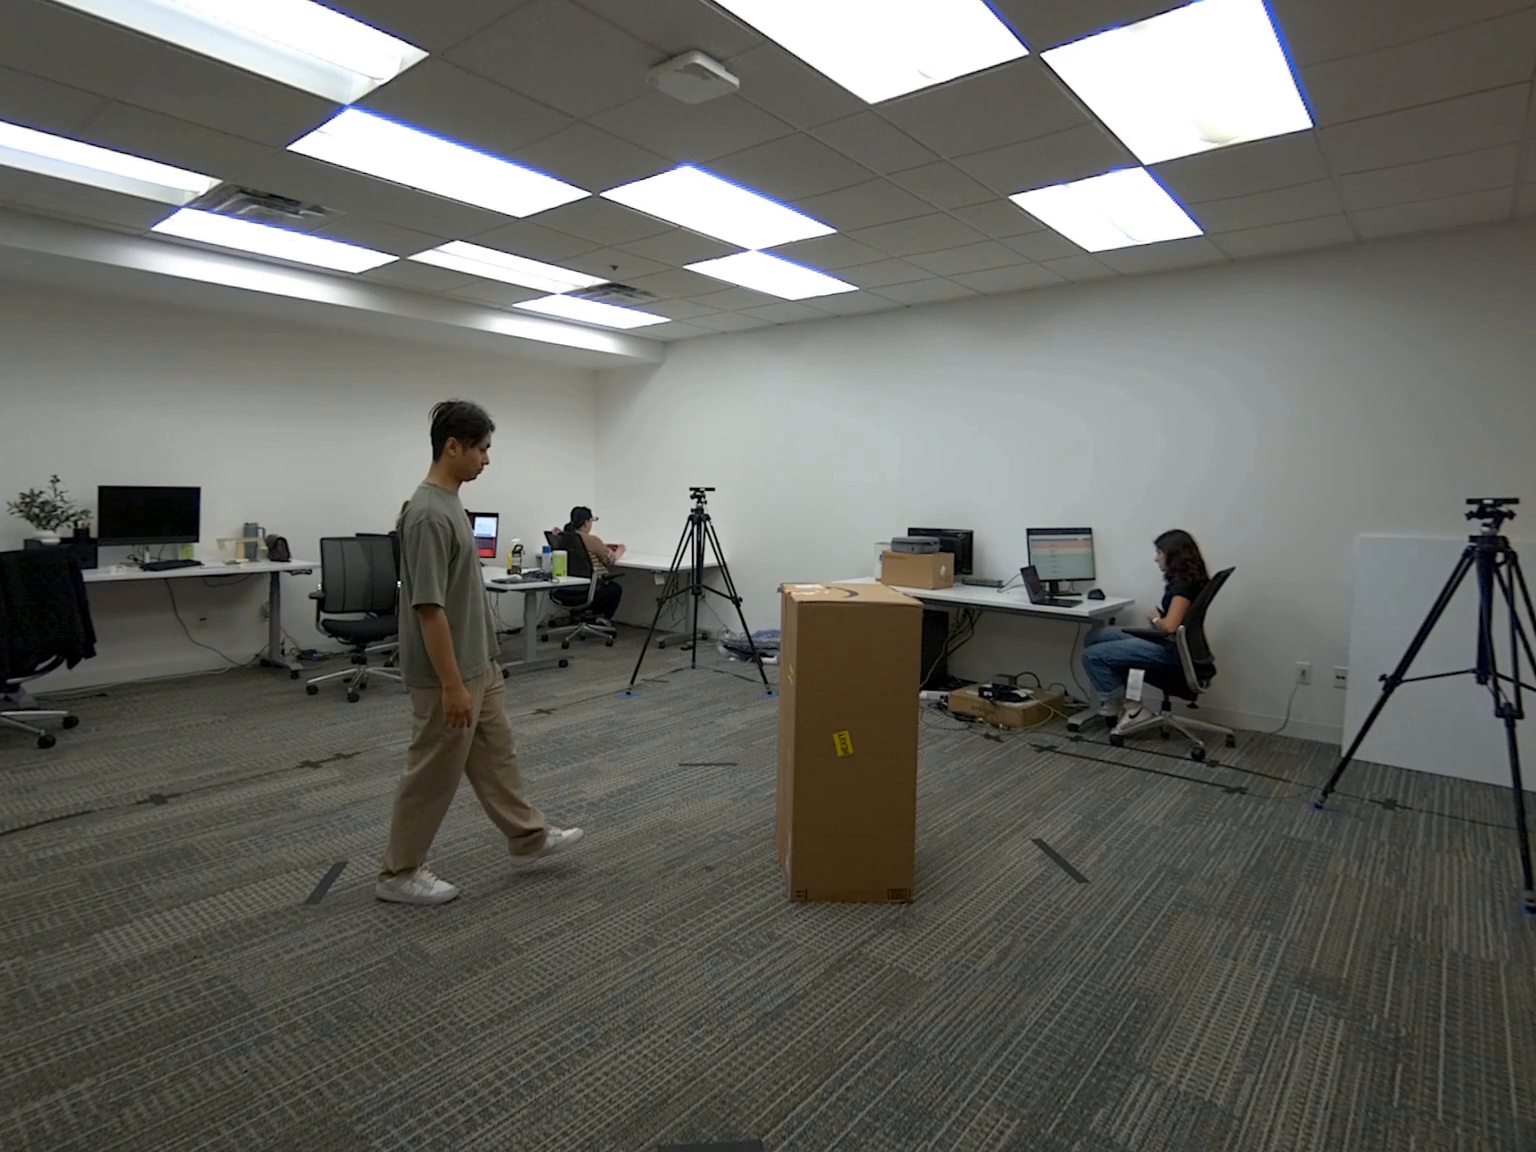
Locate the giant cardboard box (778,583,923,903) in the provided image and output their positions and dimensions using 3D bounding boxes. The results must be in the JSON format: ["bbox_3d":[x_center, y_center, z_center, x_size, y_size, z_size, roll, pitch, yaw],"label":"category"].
[{"bbox_3d":[0.265,0.567,3.135,0.425,1.022,0.582,1,4,-4],"label":"giant cardboard box"}]
